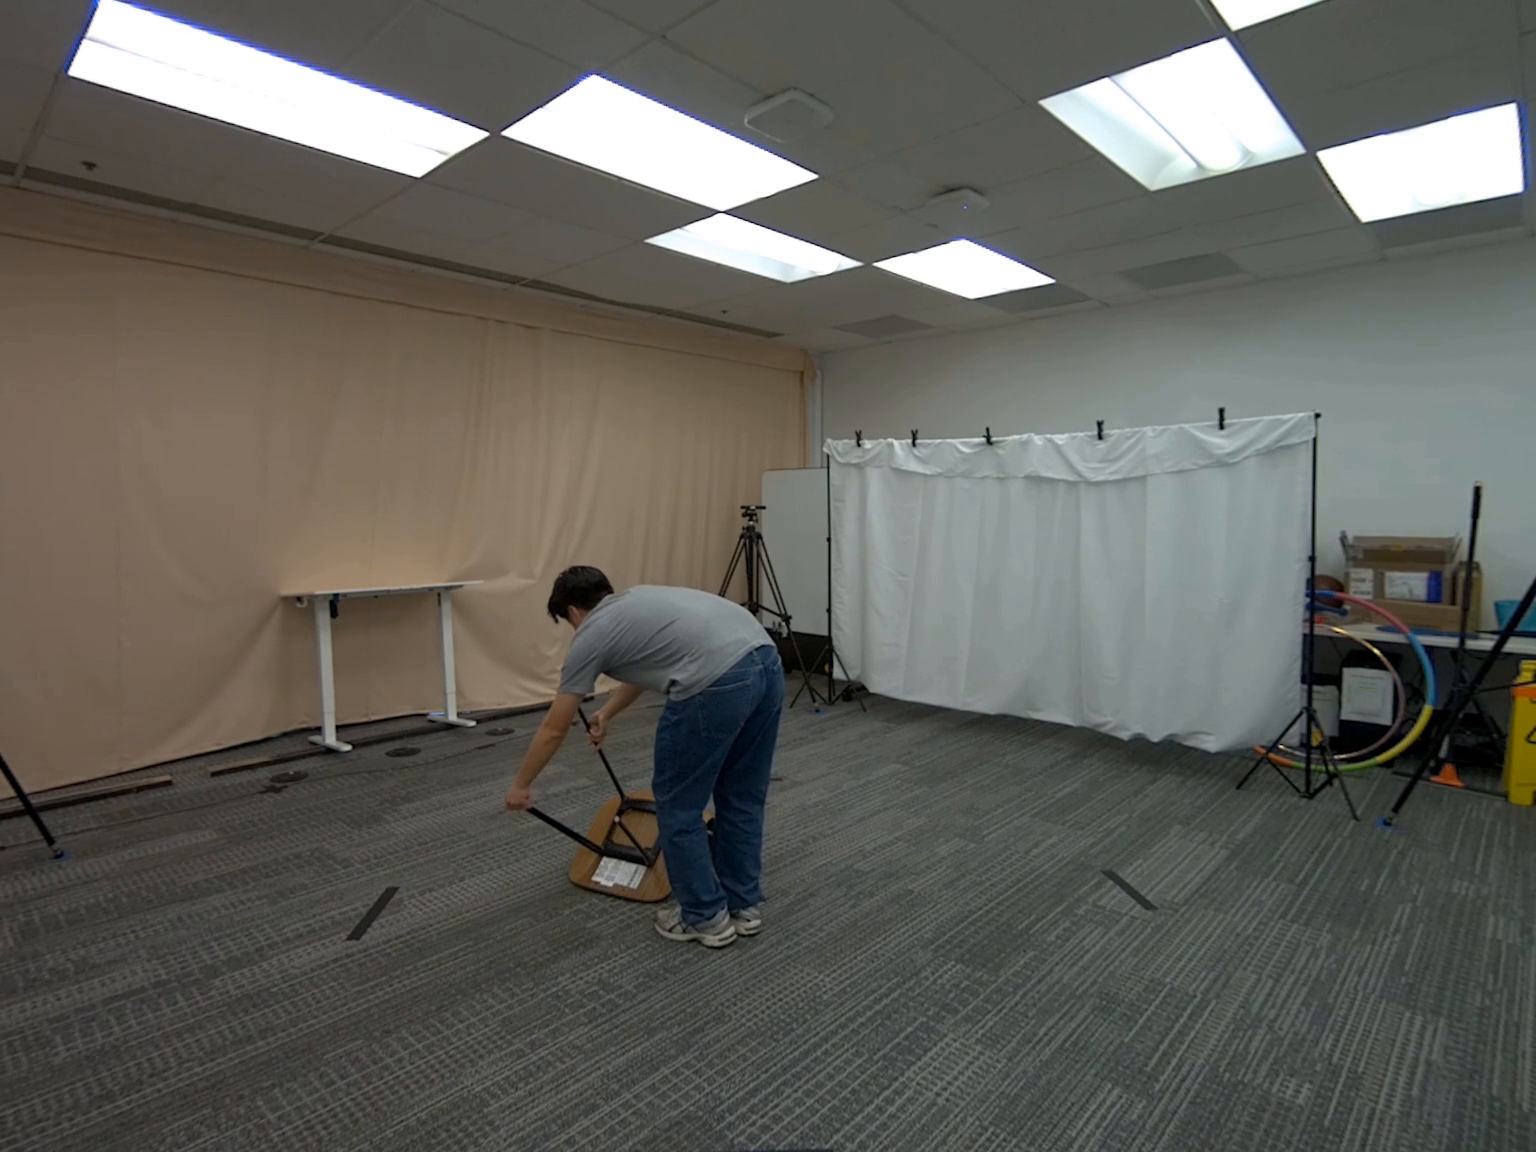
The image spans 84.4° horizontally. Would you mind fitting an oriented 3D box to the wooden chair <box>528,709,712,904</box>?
[{"bbox_3d":[-0.497,0.963,3.178,0.491,0.852,0.525,1,45,26],"label":"wooden chair"}]
